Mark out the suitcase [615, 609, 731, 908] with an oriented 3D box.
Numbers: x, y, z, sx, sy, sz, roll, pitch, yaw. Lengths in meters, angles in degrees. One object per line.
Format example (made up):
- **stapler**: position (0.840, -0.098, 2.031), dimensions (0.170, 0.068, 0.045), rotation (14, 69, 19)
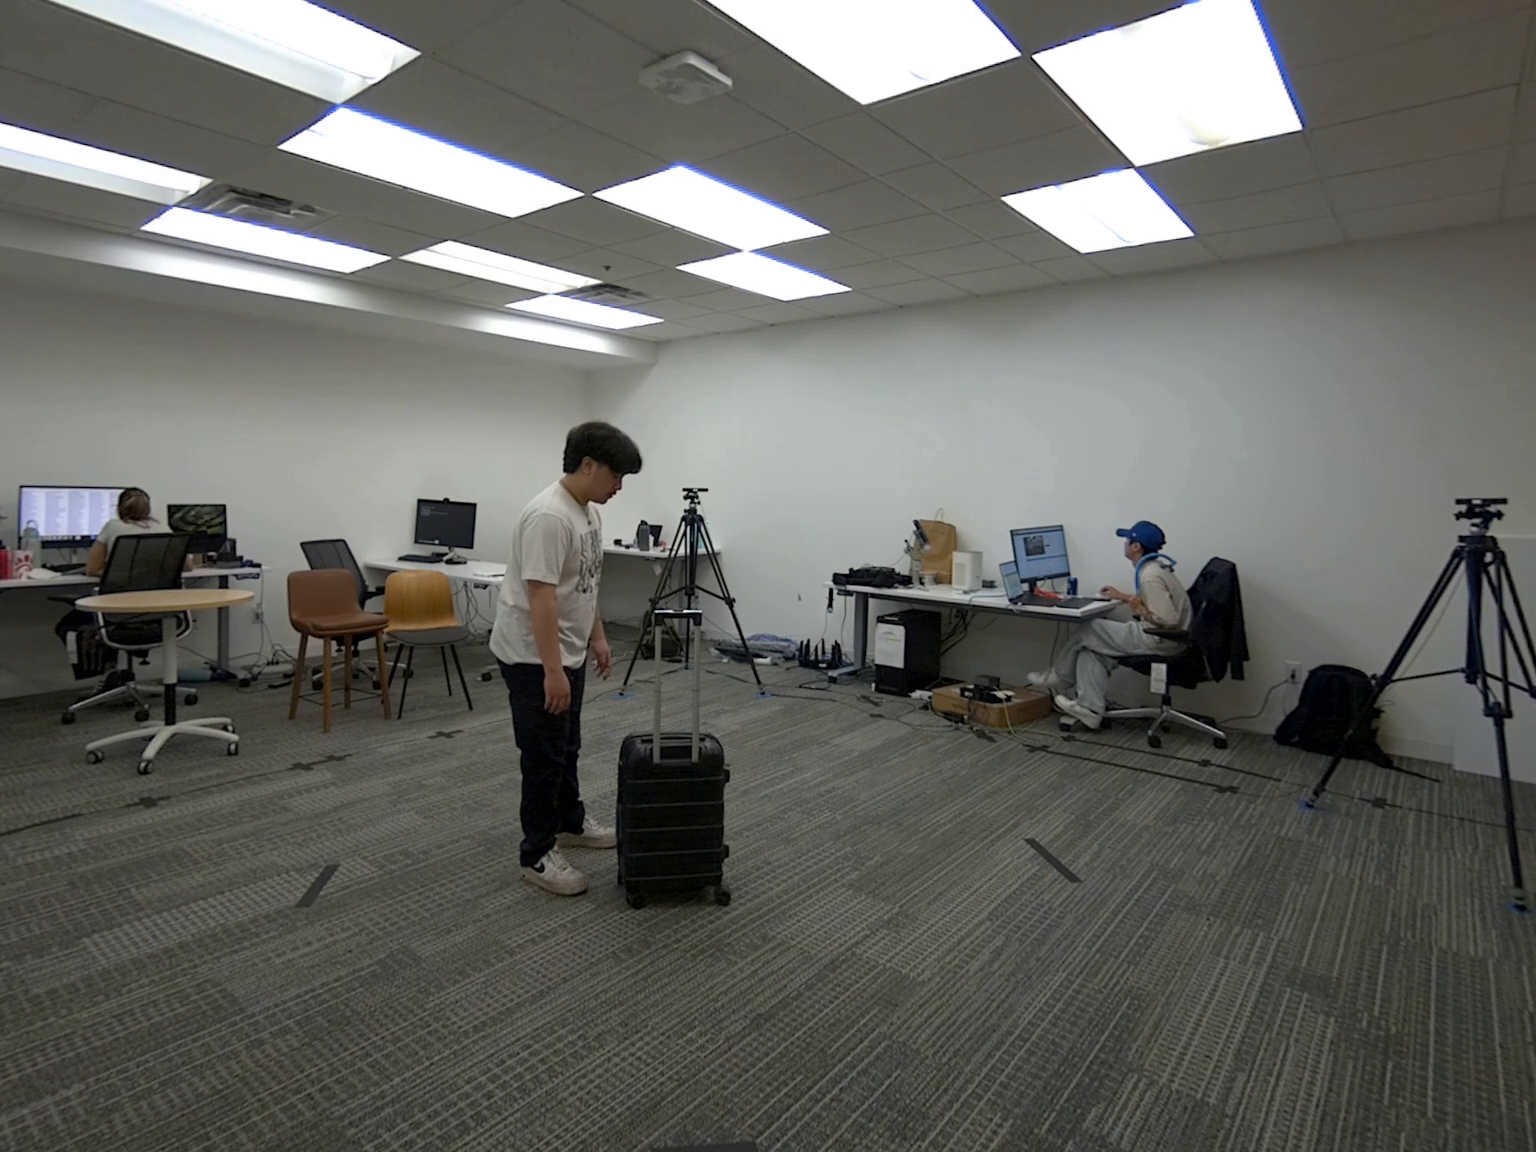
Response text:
- **suitcase**: position (-0.340, 0.612, 2.913), dimensions (0.380, 0.979, 0.259), rotation (1, -1, -10)
